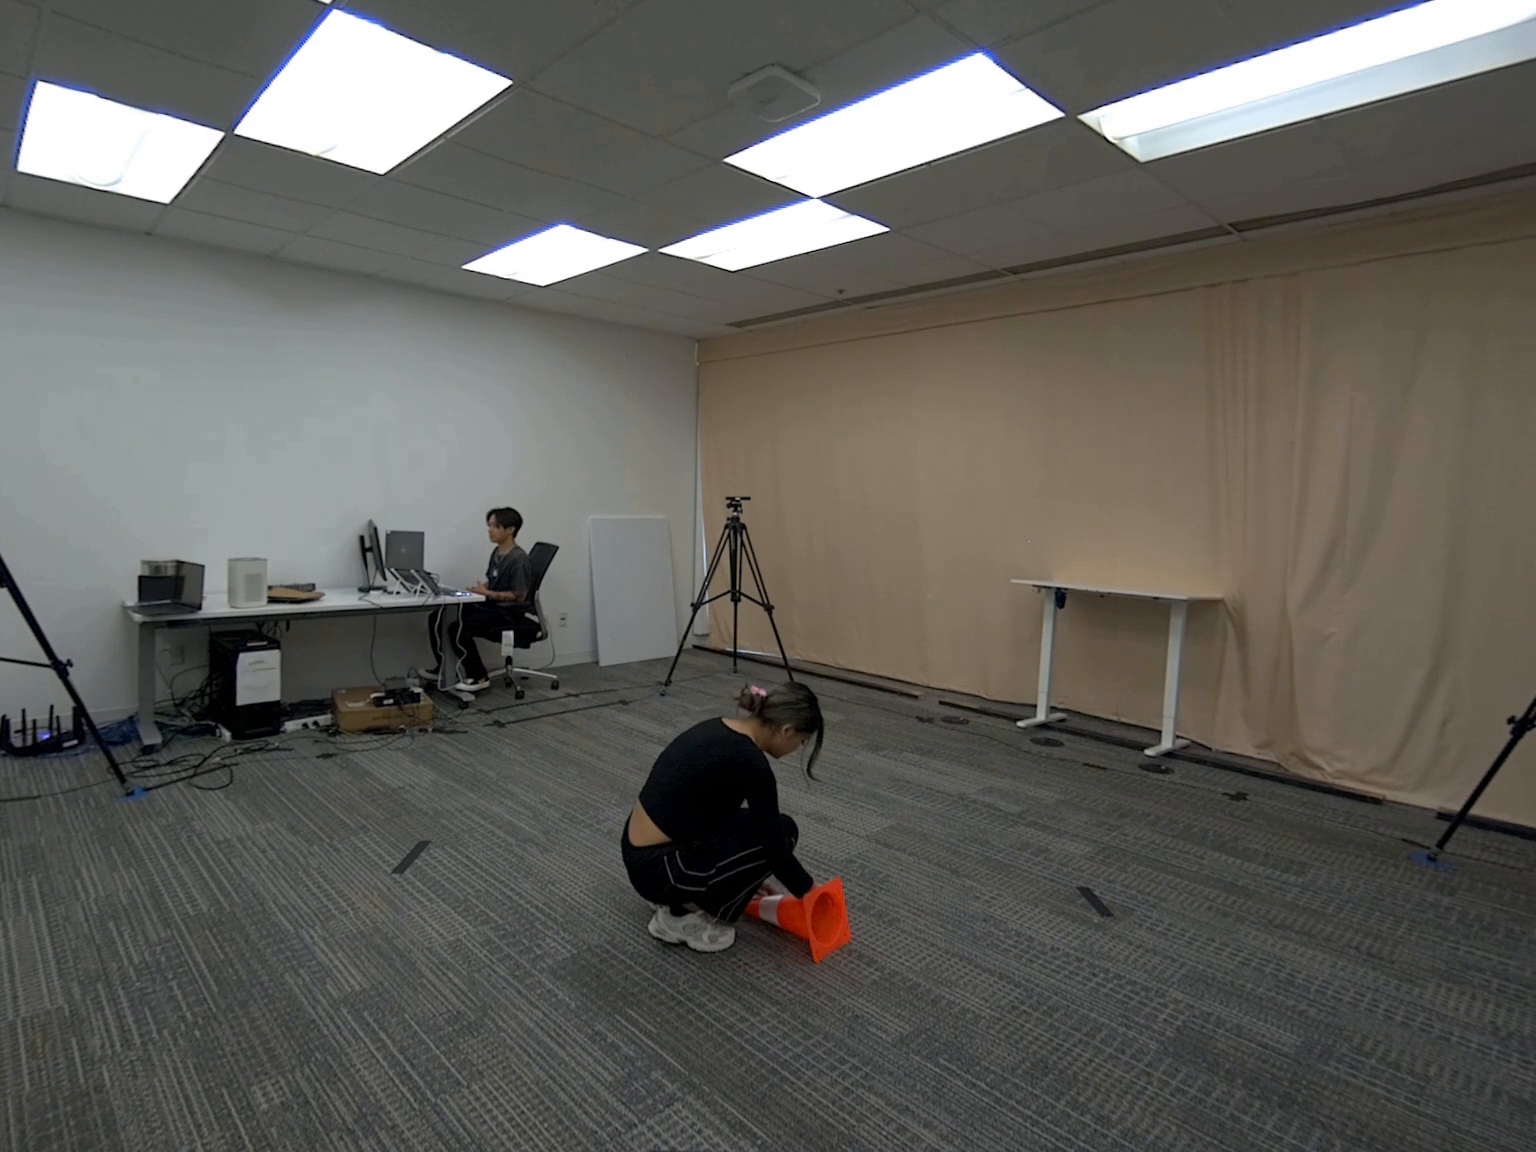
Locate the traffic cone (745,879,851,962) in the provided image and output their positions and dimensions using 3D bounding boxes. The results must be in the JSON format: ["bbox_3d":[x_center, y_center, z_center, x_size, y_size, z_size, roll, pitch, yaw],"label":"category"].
[{"bbox_3d":[0.034,1.096,2.731,0.390,0.203,0.201,-12,0,41],"label":"traffic cone"}]
